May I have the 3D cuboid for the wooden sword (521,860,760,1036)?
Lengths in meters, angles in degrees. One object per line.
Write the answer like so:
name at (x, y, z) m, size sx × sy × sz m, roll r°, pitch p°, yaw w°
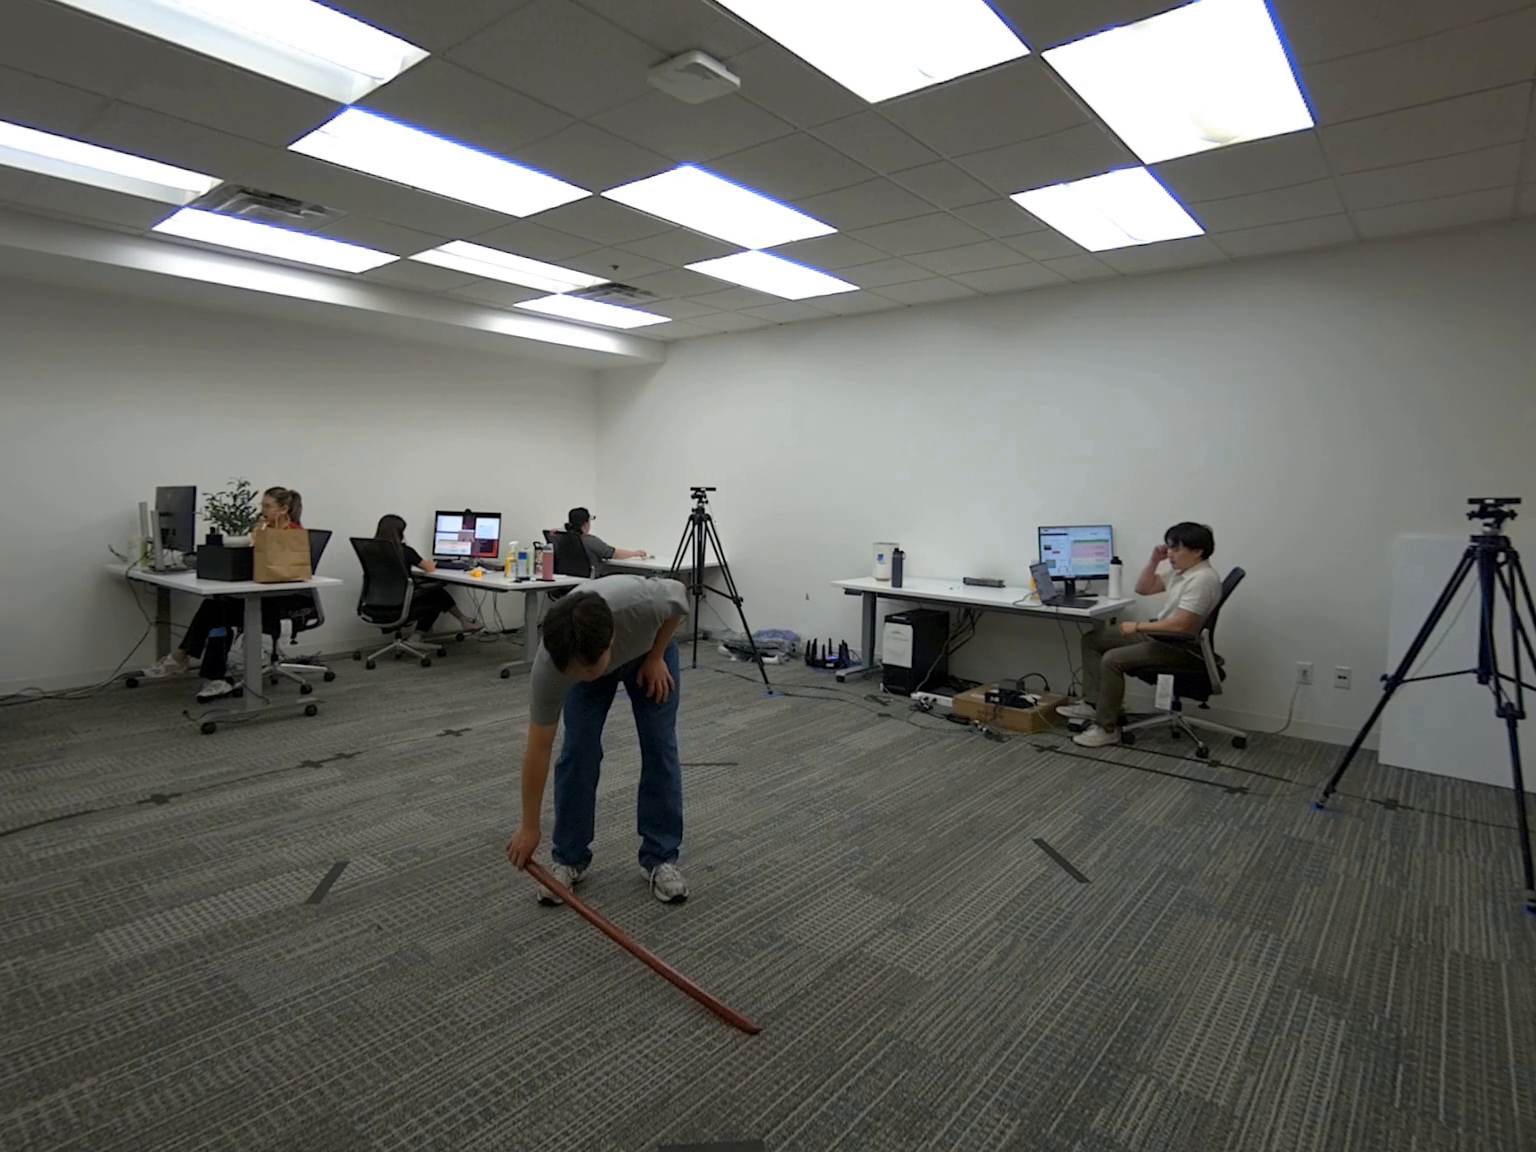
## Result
wooden sword at (-0.438, 1.038, 2.482) m, size 1.063 × 0.023 × 0.051 m, roll 14°, pitch 38°, yaw 37°
